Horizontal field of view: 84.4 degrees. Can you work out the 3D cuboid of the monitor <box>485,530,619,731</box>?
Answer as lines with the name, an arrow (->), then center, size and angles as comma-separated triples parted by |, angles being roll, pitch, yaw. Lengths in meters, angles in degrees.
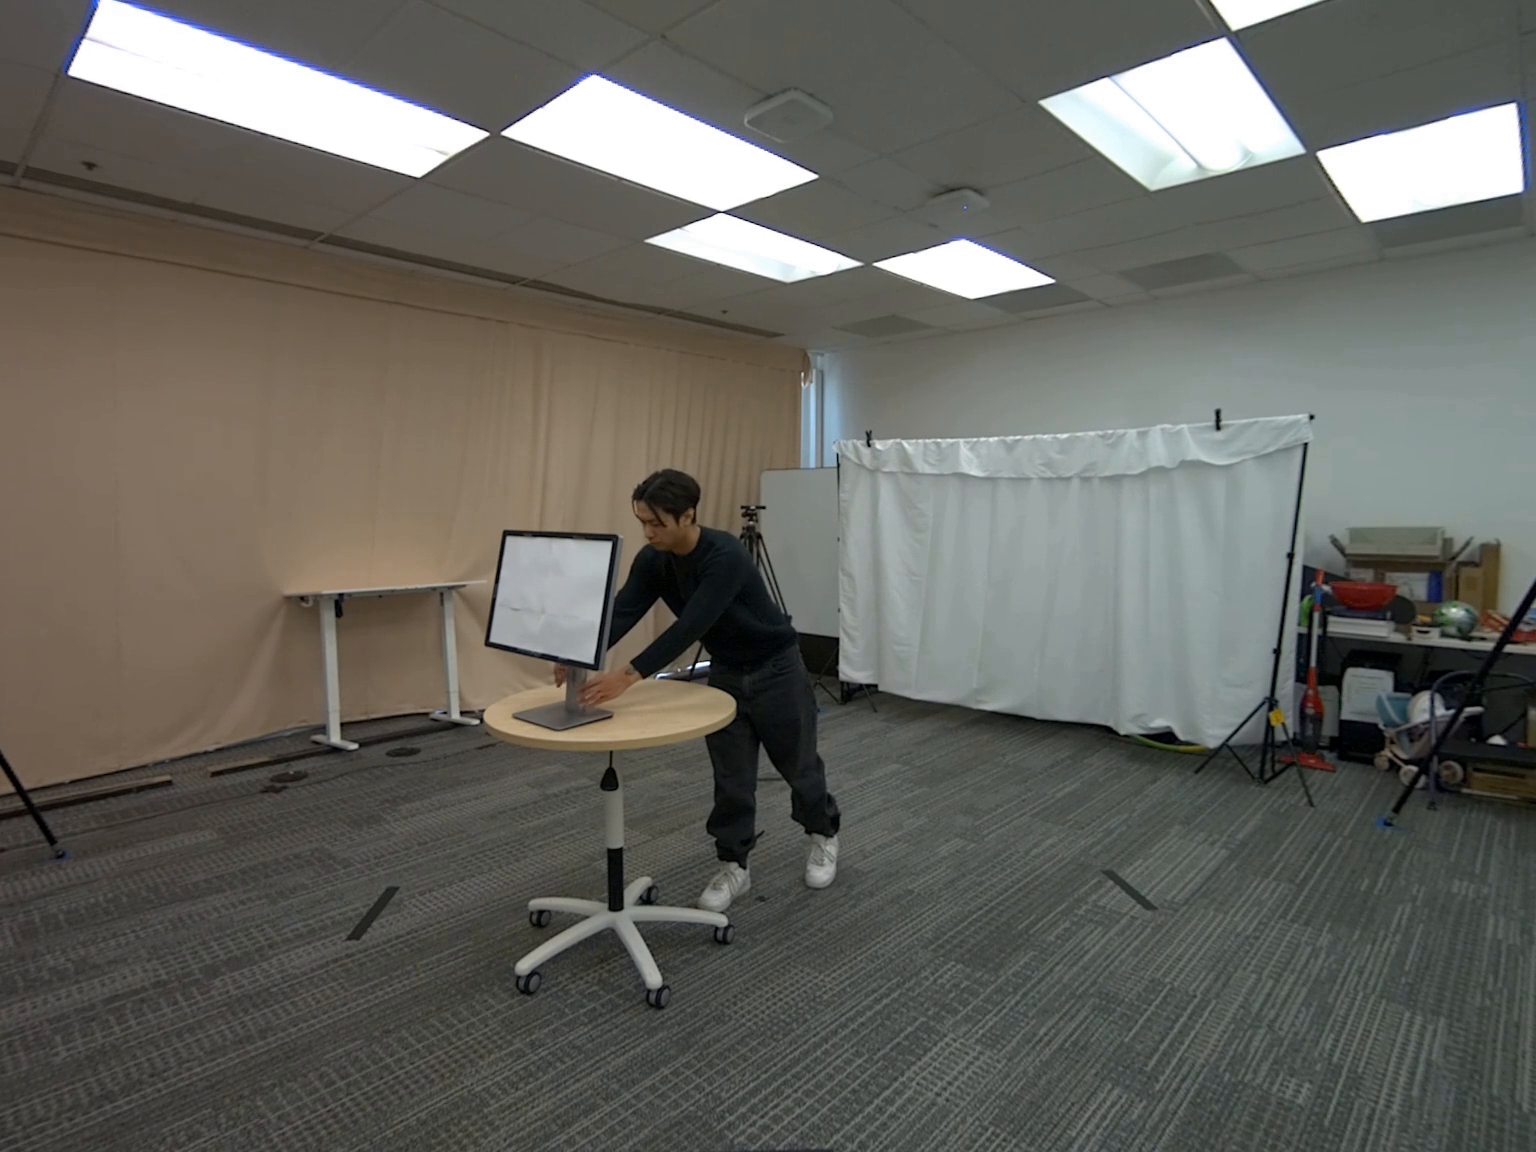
monitor -> -0.602, 0.148, 2.437 | 0.557, 0.521, 0.181 | 3, 5, 40
